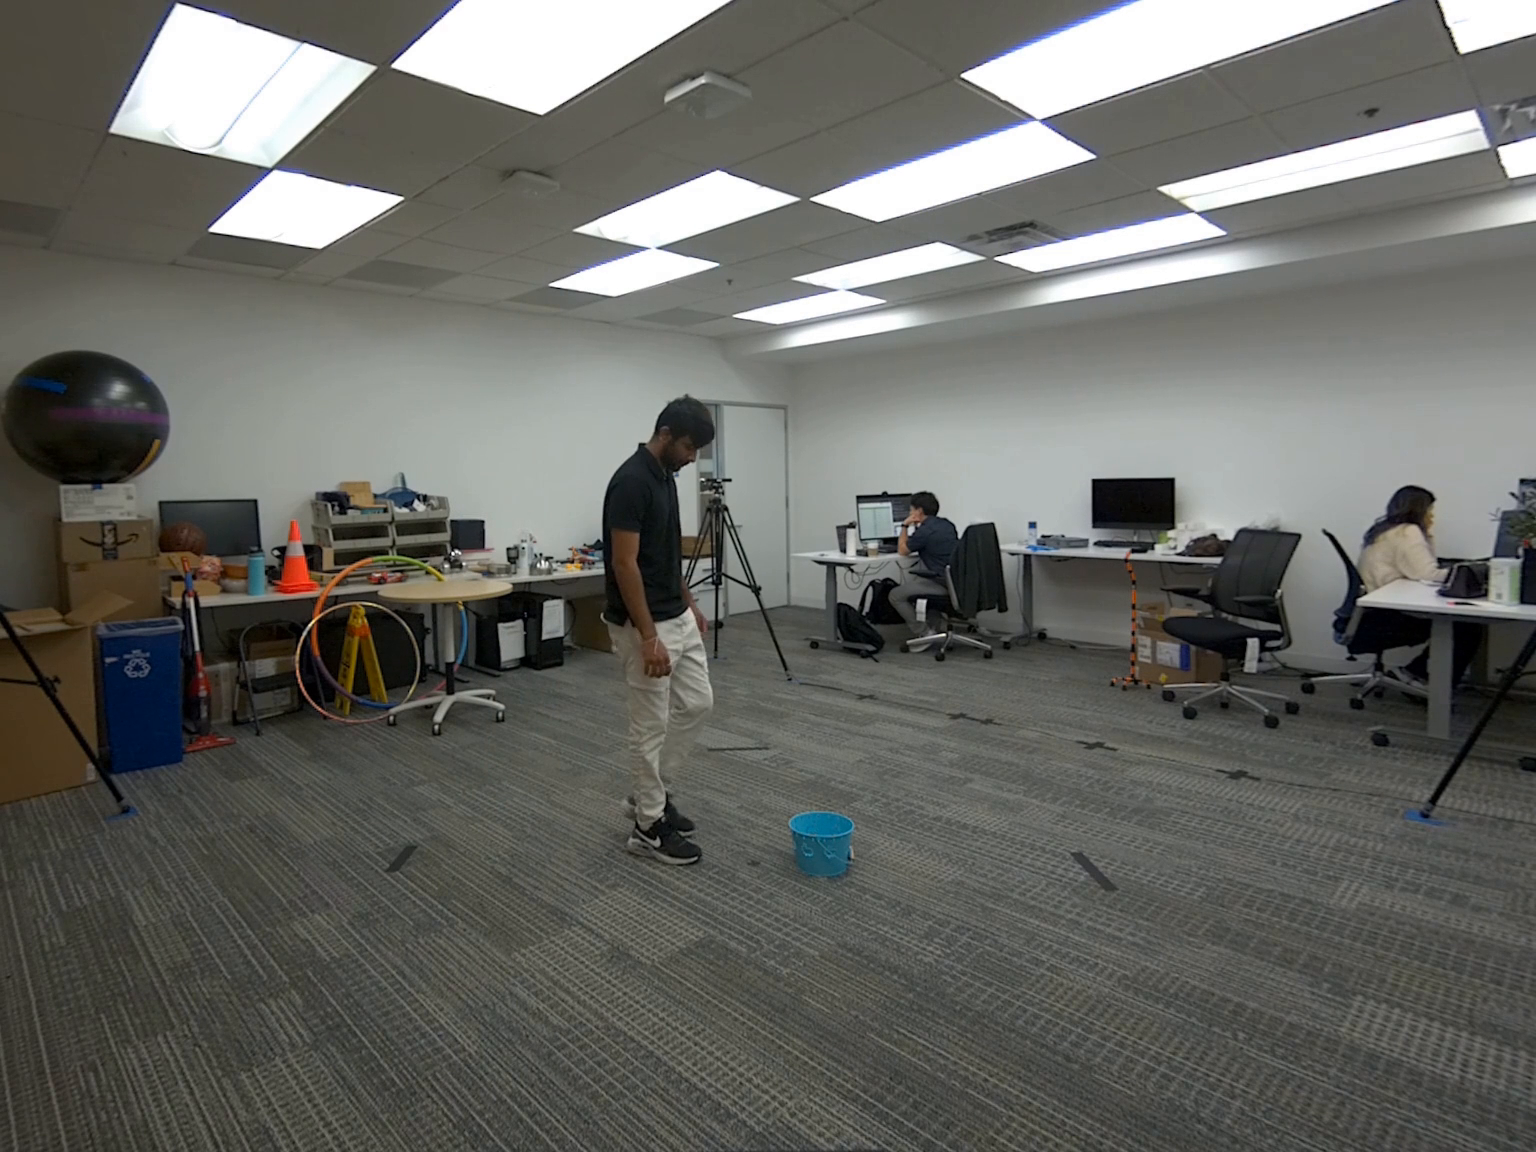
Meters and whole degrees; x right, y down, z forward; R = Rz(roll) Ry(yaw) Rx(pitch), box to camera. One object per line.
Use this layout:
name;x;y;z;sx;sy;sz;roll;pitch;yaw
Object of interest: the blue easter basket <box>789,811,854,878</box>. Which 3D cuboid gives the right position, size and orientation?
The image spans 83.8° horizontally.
blue easter basket;0.200;0.965;3.072;0.243;0.155;0.245;-1;5;-2
